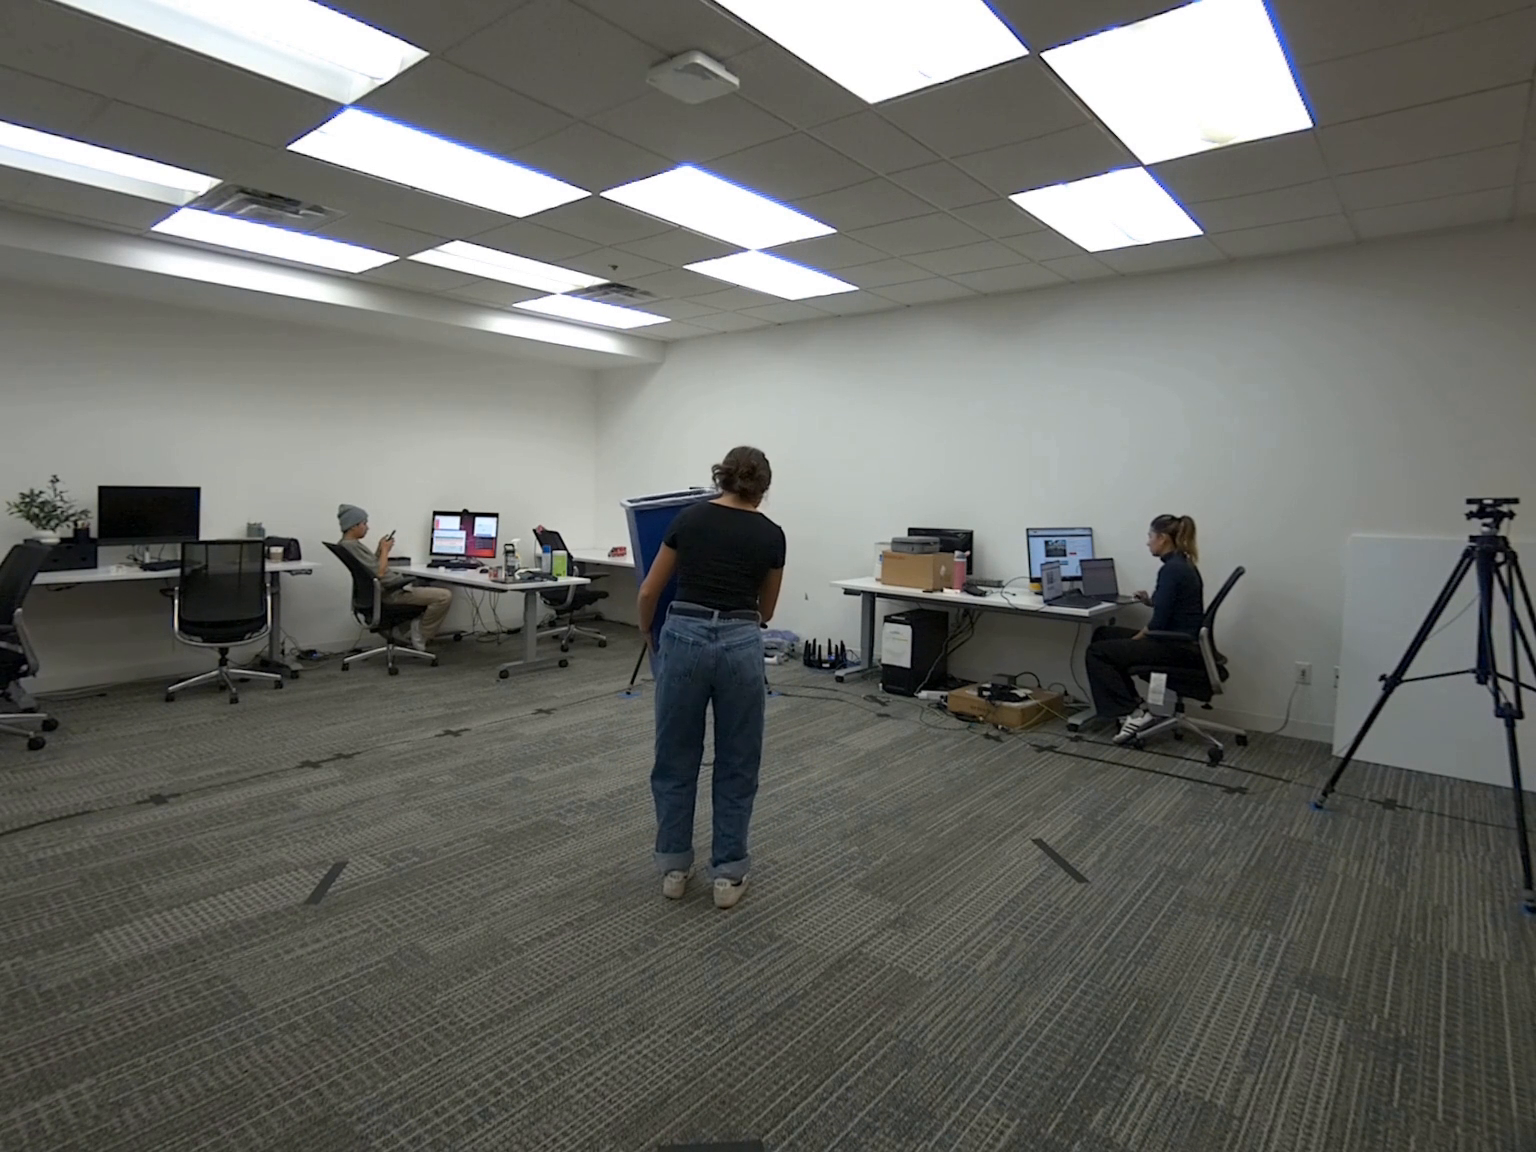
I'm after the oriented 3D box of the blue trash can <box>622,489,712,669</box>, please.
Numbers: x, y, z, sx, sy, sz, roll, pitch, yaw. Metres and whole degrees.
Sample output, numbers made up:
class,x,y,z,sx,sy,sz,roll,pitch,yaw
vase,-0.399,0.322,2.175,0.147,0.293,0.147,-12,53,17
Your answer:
class,x,y,z,sx,sy,sz,roll,pitch,yaw
blue trash can,-0.346,0.041,3.277,0.370,0.709,0.385,-7,6,-13
